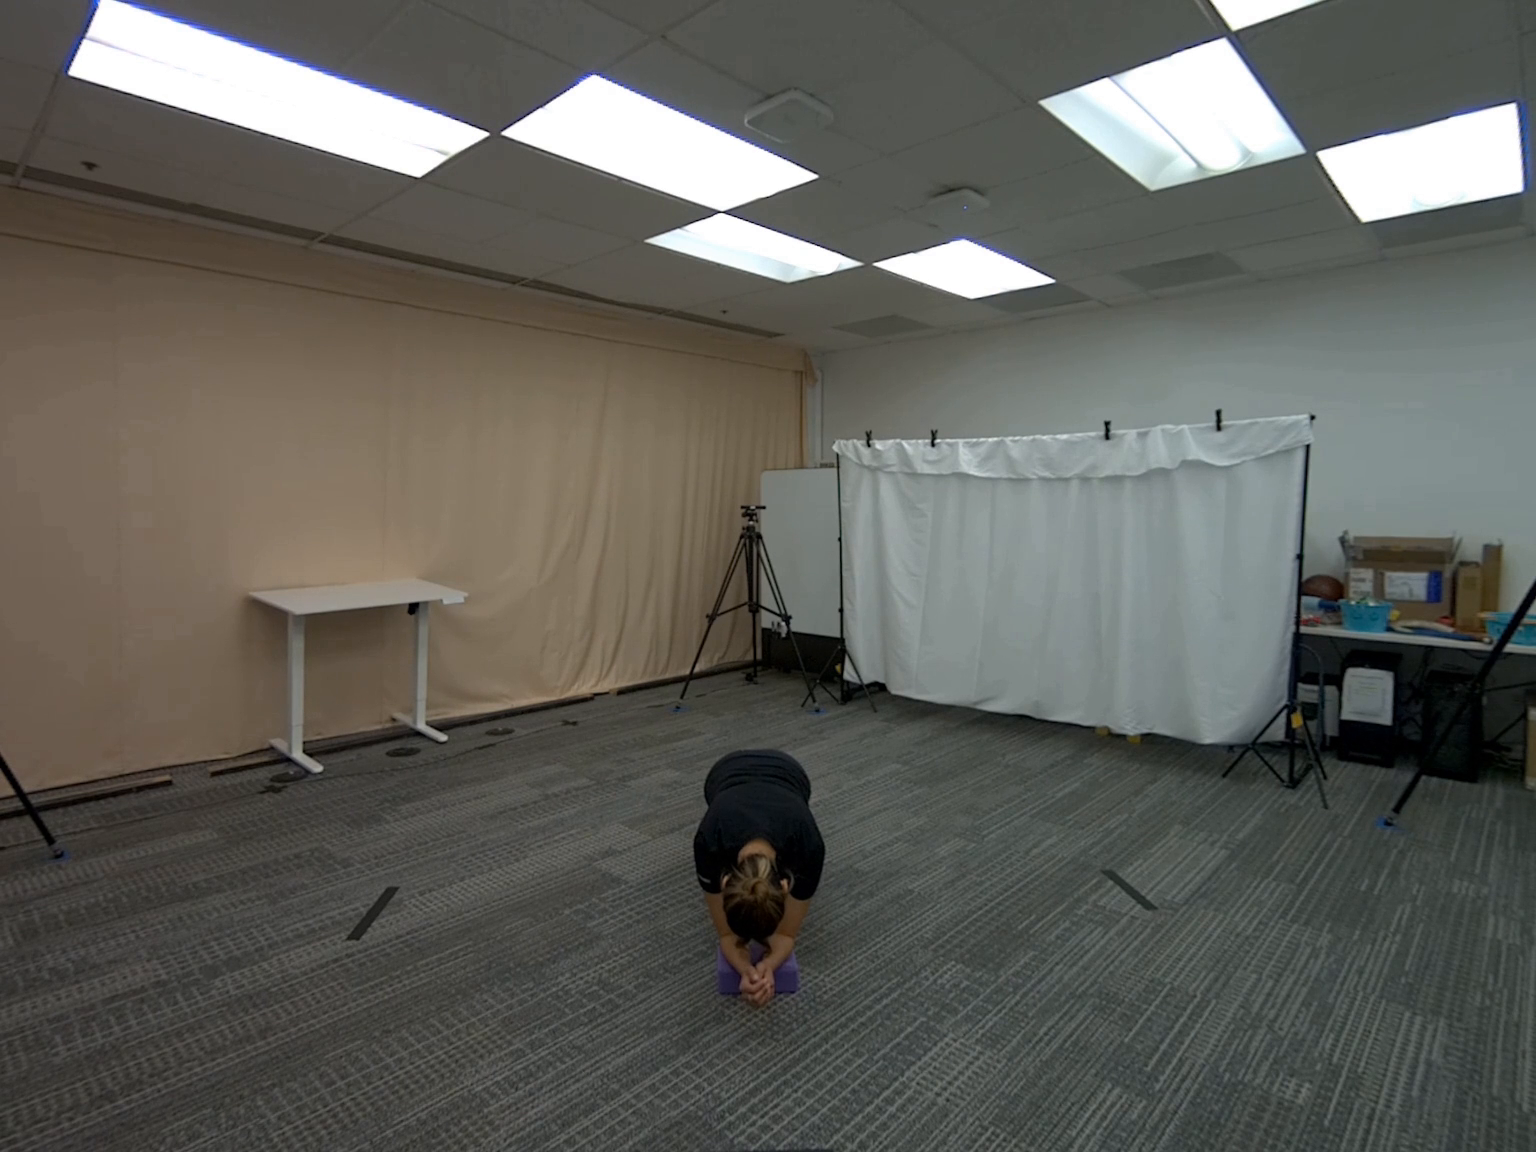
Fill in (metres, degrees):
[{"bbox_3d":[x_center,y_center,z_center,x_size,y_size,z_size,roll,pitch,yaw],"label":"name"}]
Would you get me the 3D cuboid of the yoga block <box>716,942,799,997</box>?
[{"bbox_3d":[-0.031,1.143,2.469,0.229,0.076,0.149,0,5,0],"label":"yoga block"}]
